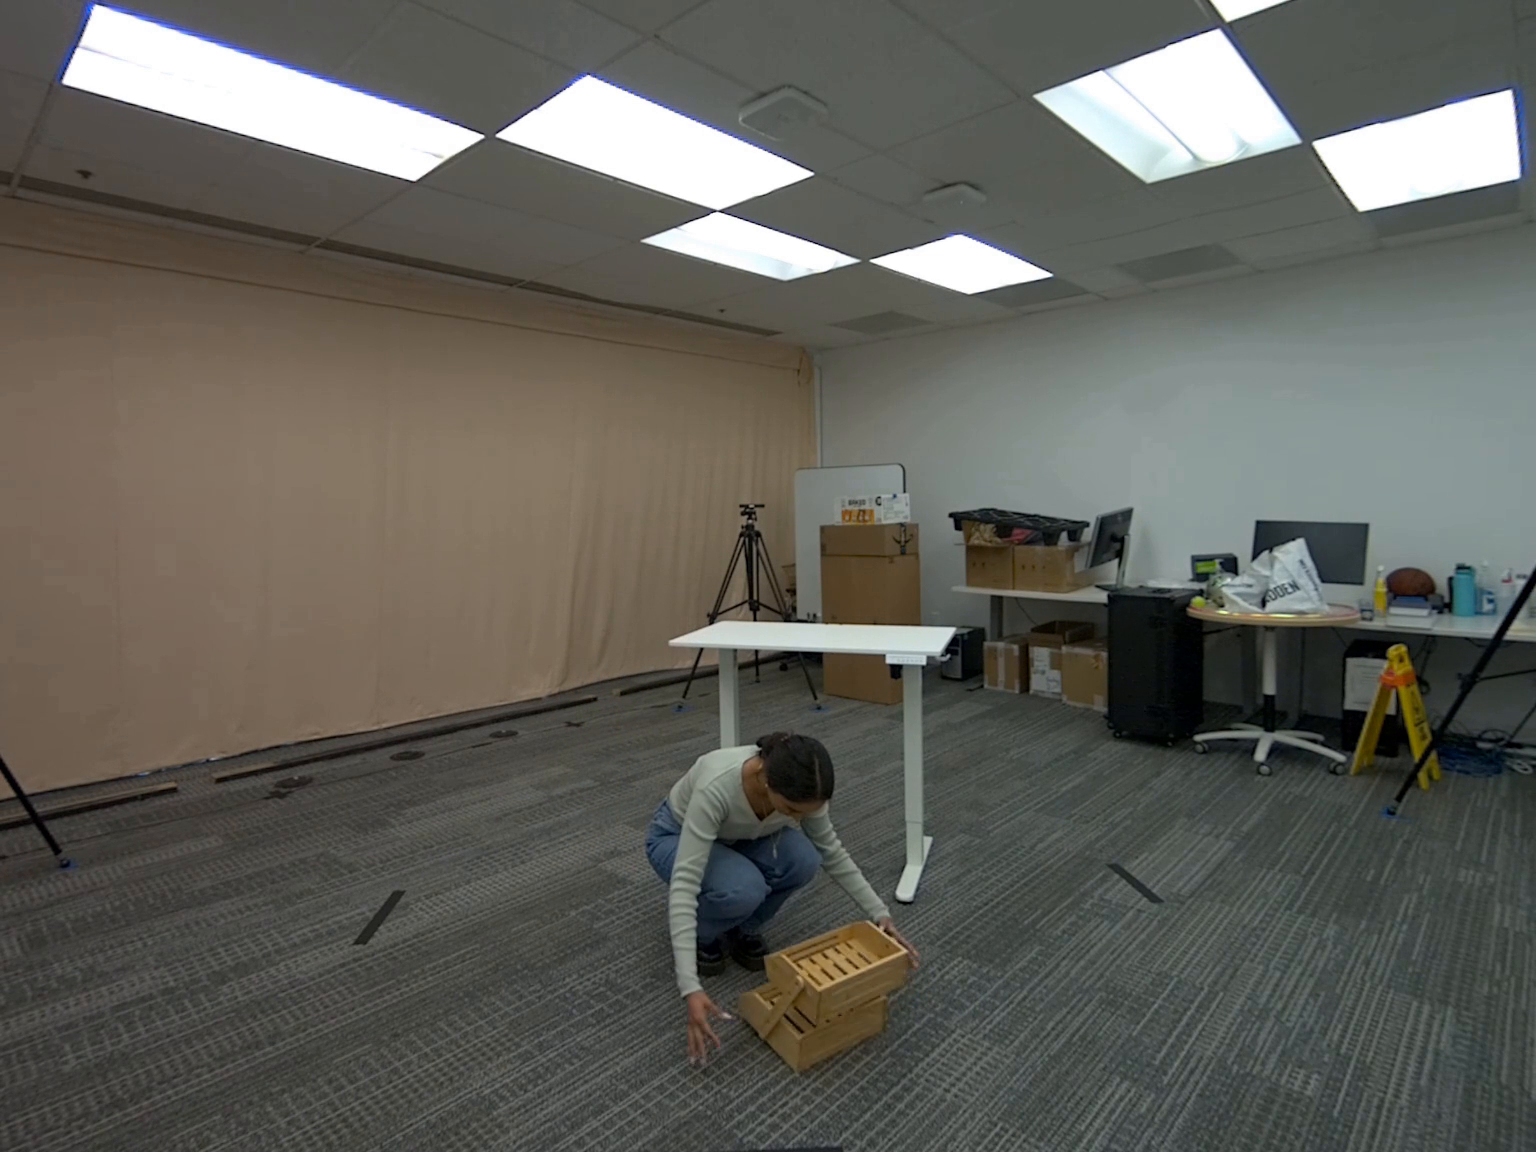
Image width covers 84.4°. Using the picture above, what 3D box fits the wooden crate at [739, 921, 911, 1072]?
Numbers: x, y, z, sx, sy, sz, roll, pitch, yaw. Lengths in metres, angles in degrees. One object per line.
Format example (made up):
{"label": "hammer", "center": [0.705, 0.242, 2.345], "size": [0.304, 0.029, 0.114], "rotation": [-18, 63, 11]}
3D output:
{"label": "wooden crate", "center": [0.143, 1.054, 2.205], "size": [0.315, 0.272, 0.312], "rotation": [-3, 13, -36]}
